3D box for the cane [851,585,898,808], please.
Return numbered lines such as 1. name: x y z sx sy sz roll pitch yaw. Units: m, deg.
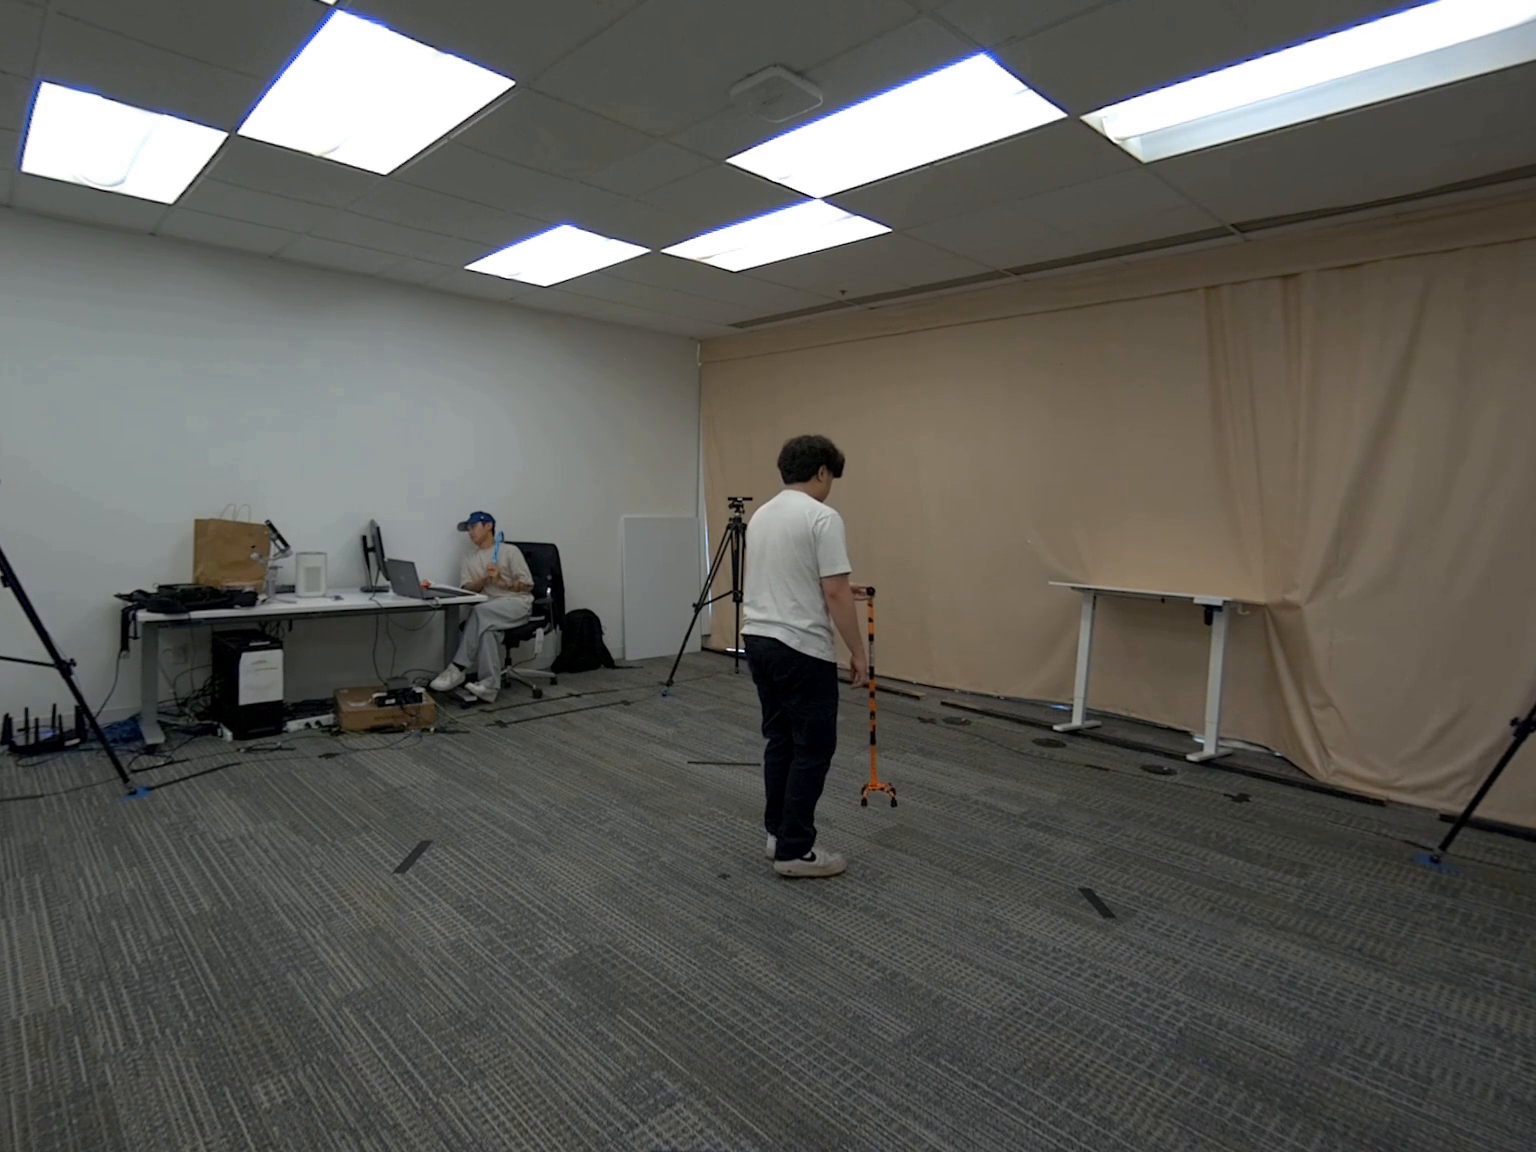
1. cane: 0.455 0.514 3.613 0.152 0.908 0.205 -1 -1 5
